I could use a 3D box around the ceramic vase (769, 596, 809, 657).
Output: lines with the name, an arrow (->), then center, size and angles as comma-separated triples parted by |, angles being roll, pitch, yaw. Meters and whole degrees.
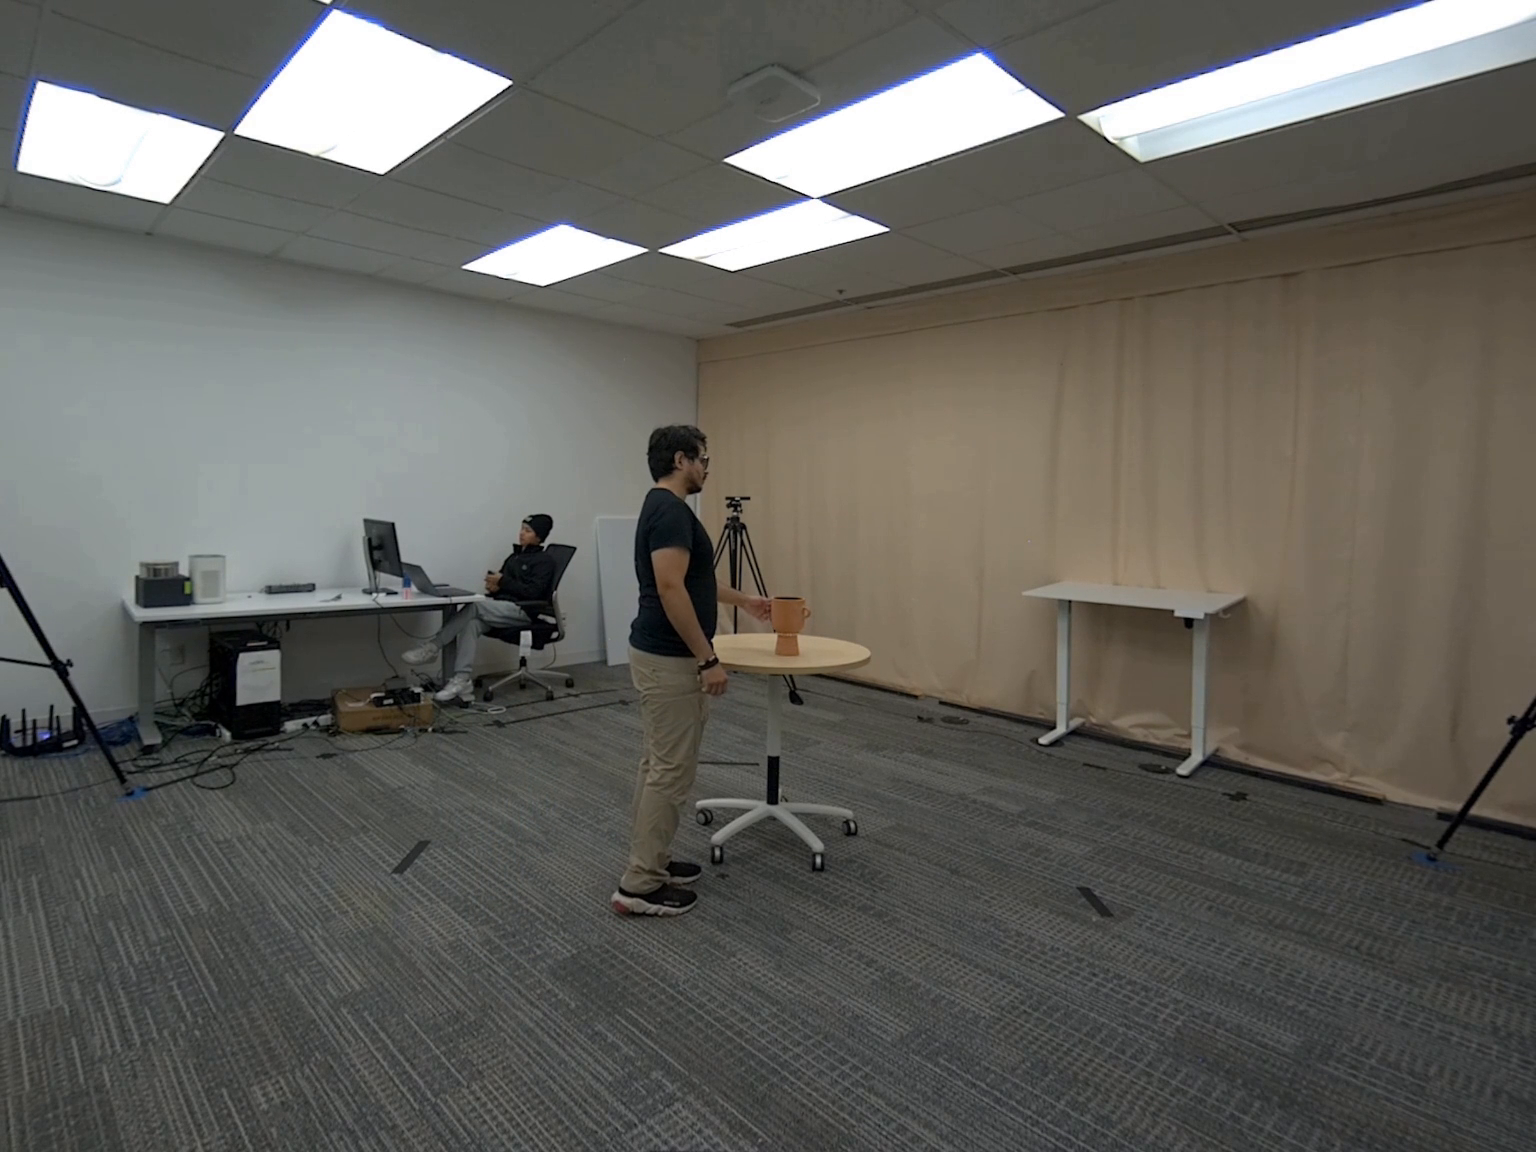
ceramic vase -> 0.073, 0.201, 3.328 | 0.132, 0.219, 0.162 | 0, 5, -22
